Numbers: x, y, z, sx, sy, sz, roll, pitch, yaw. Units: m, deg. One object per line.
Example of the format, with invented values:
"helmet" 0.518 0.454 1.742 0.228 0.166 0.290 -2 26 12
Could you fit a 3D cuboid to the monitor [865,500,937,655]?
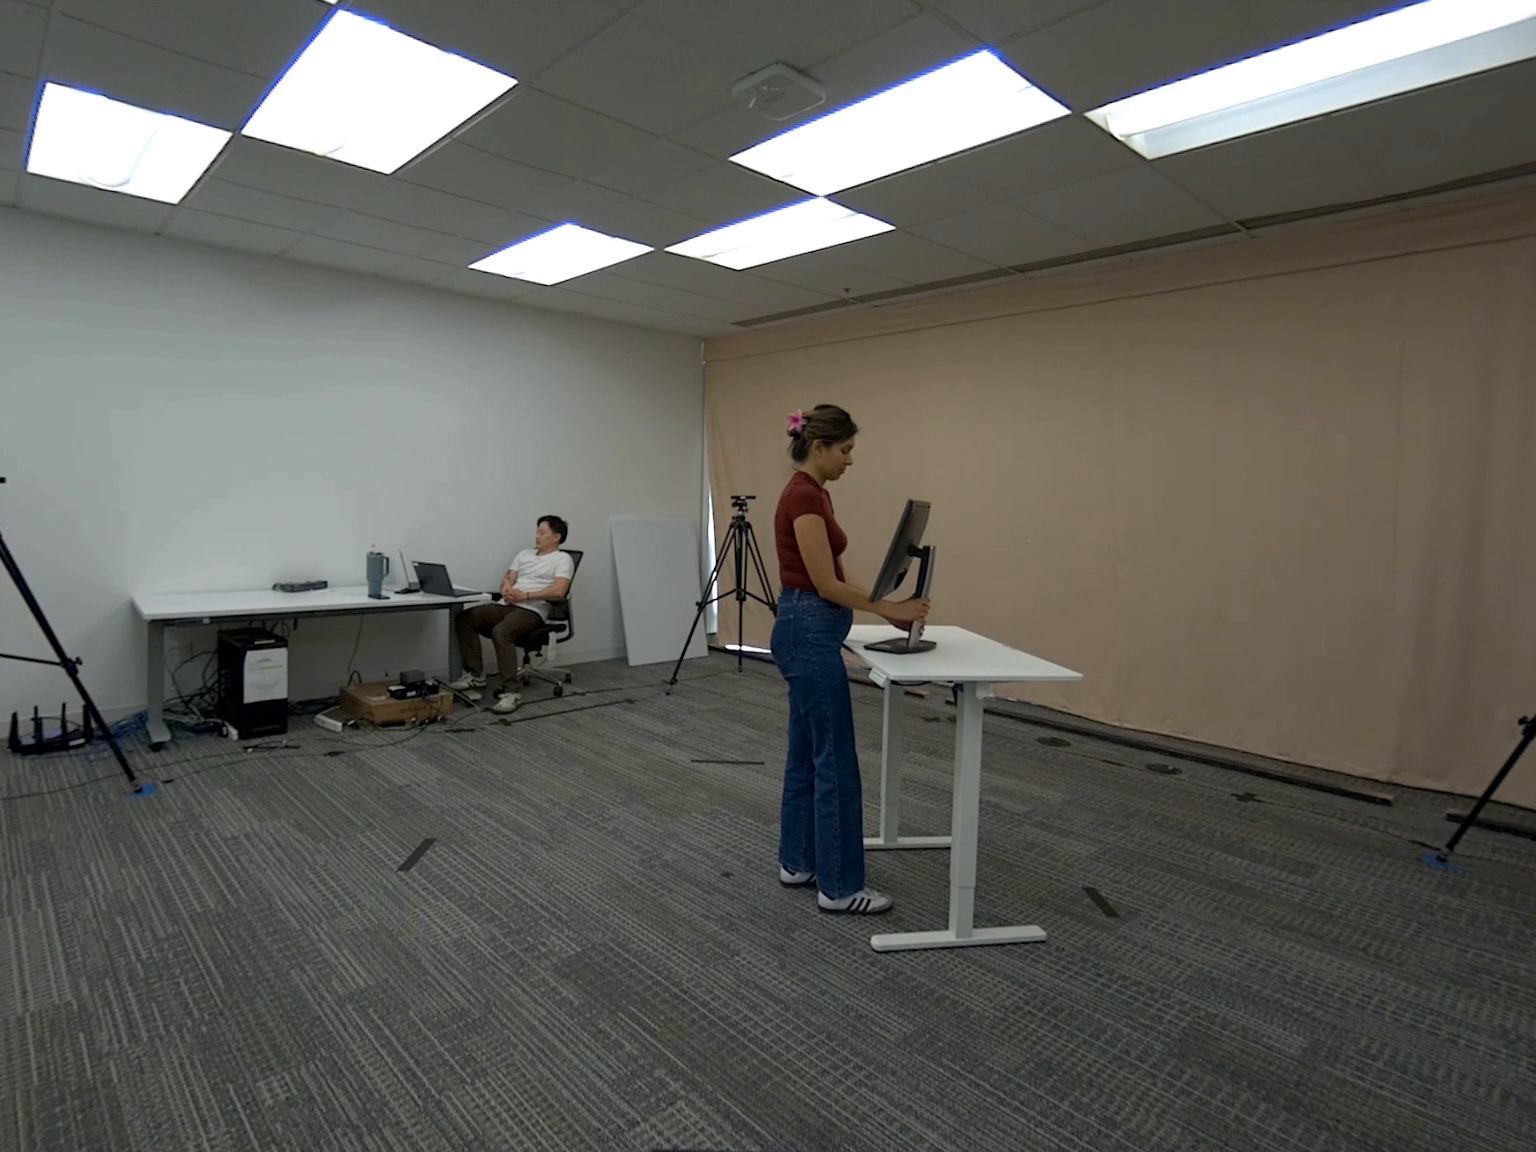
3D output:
"monitor" 0.485 0.000 2.903 0.190 0.521 0.533 6 5 15
